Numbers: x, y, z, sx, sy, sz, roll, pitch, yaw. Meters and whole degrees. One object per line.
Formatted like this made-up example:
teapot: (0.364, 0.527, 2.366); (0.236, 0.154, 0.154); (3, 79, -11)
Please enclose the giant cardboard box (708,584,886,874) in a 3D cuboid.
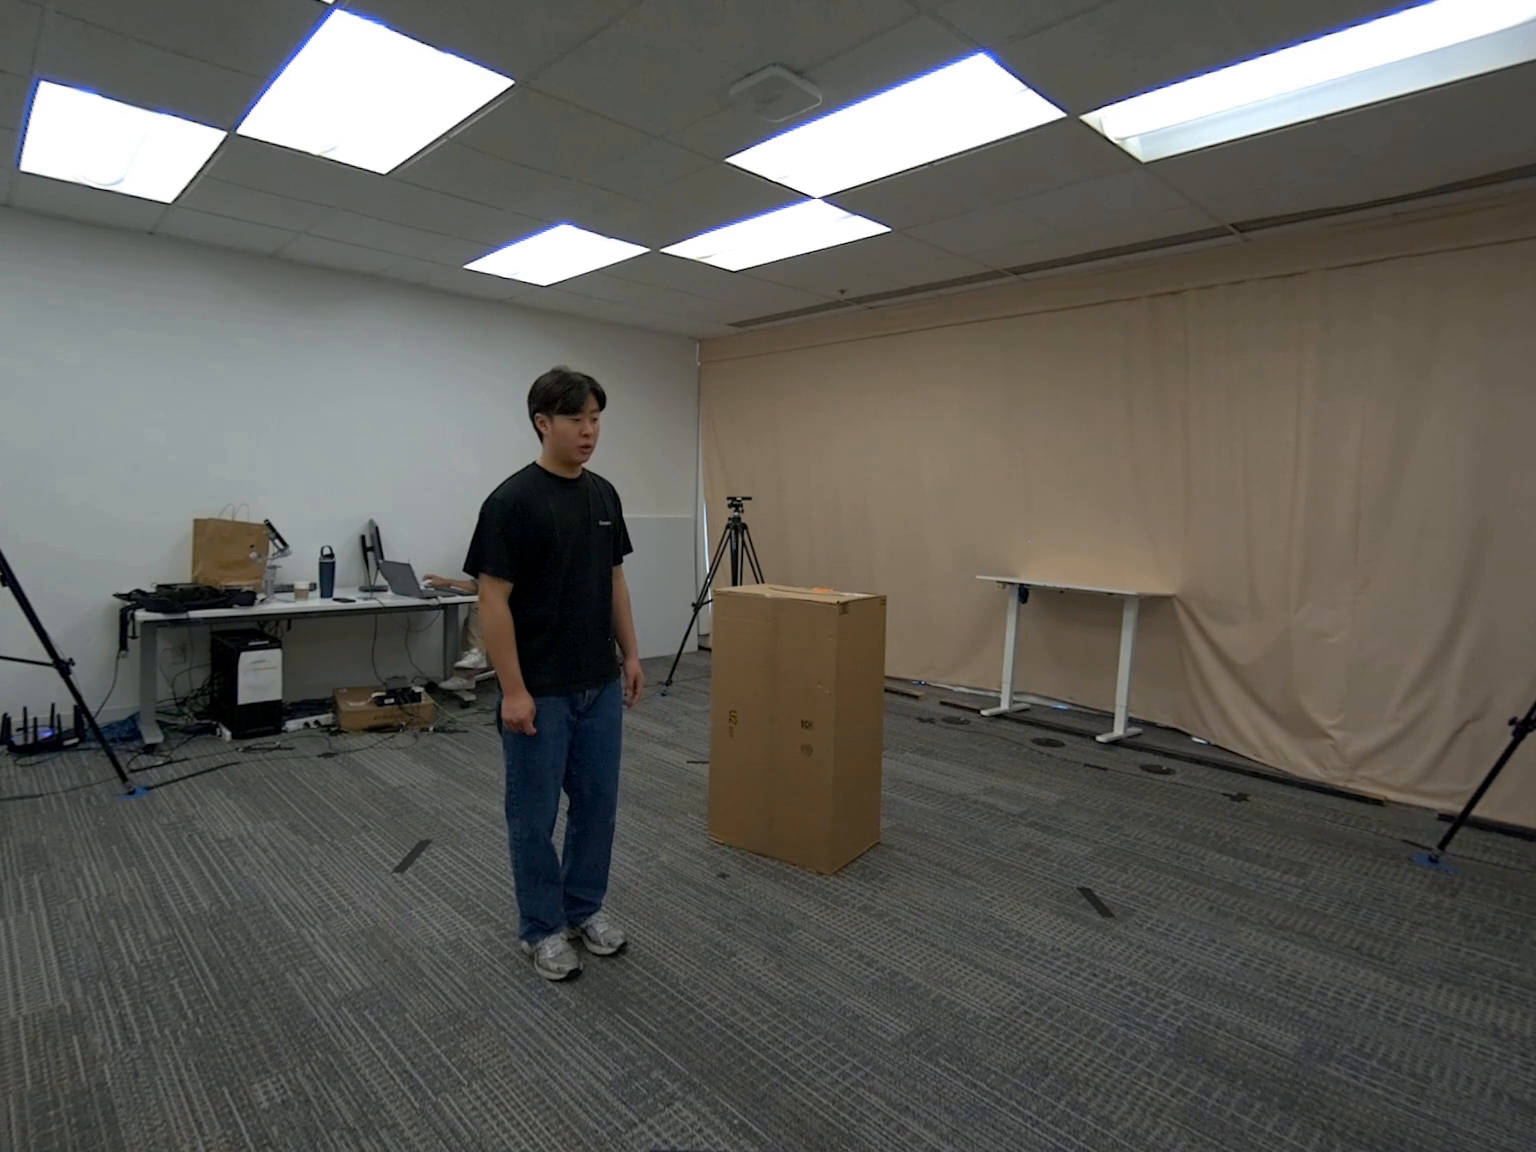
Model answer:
giant cardboard box: (0.117, 0.573, 3.431); (0.598, 1.025, 0.437); (4, 3, 36)
